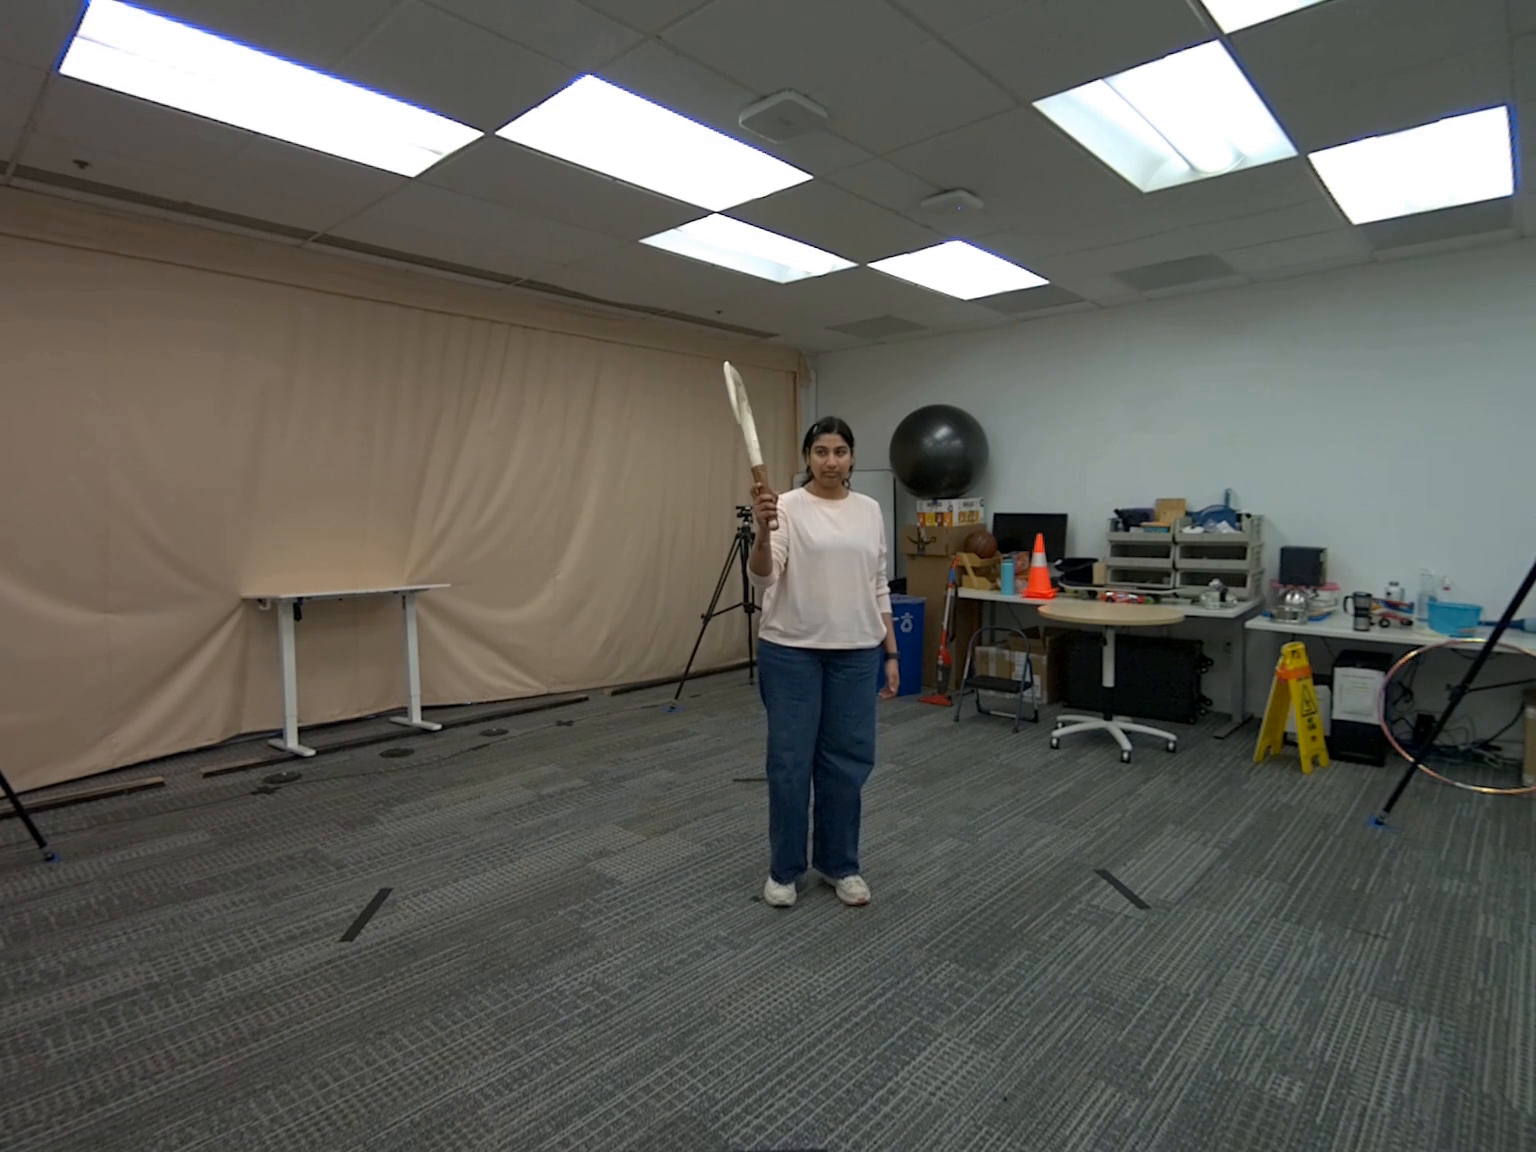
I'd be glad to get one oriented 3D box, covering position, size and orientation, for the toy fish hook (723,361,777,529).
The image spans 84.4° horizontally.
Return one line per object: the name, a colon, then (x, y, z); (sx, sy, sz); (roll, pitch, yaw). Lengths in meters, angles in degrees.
toy fish hook: (-0.038, -0.359, 2.468); (0.049, 0.507, 0.222); (-14, -1, 11)
